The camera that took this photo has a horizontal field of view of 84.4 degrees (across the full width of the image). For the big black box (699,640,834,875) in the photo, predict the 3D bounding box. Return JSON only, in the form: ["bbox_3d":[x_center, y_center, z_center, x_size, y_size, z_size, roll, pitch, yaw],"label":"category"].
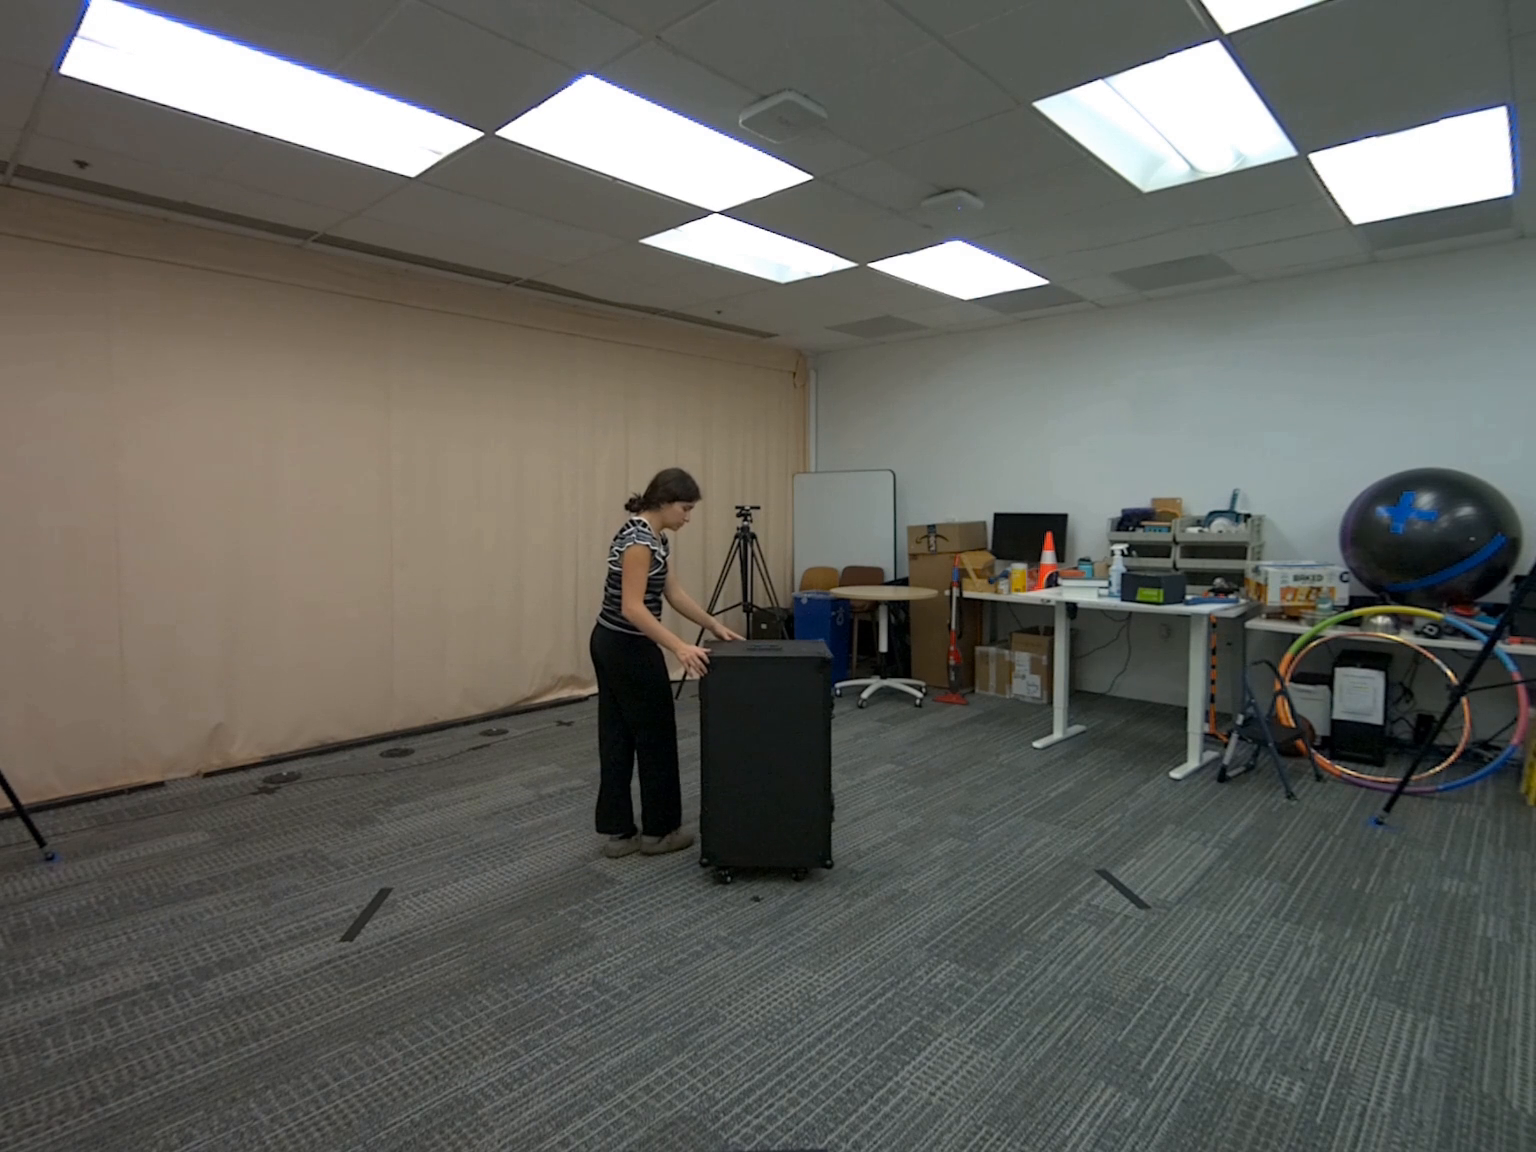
[{"bbox_3d":[-0.011,0.700,3.240,0.523,0.860,0.395,-1,2,3],"label":"big black box"}]
